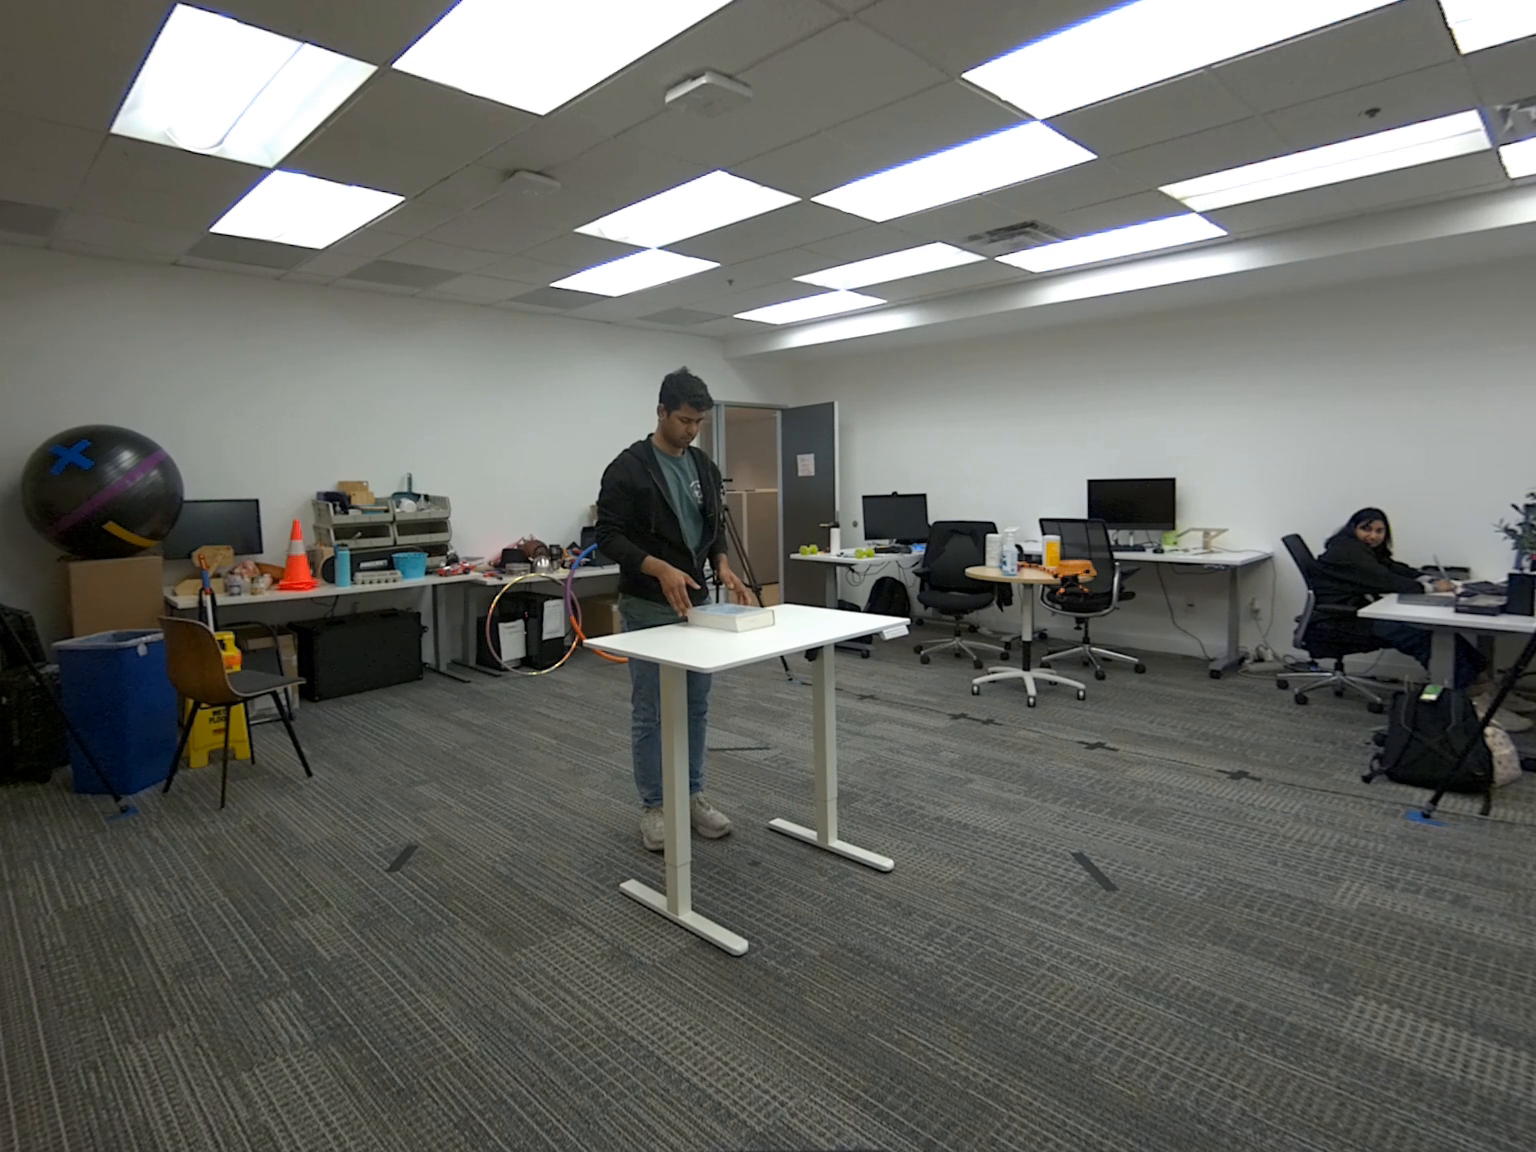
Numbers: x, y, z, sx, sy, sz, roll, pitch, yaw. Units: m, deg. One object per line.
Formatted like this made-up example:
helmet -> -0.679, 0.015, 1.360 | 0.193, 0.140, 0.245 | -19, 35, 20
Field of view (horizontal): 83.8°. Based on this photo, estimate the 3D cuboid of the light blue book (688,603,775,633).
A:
light blue book -> -0.139, 0.147, 3.015 | 0.269, 0.059, 0.186 | 4, 8, 44
